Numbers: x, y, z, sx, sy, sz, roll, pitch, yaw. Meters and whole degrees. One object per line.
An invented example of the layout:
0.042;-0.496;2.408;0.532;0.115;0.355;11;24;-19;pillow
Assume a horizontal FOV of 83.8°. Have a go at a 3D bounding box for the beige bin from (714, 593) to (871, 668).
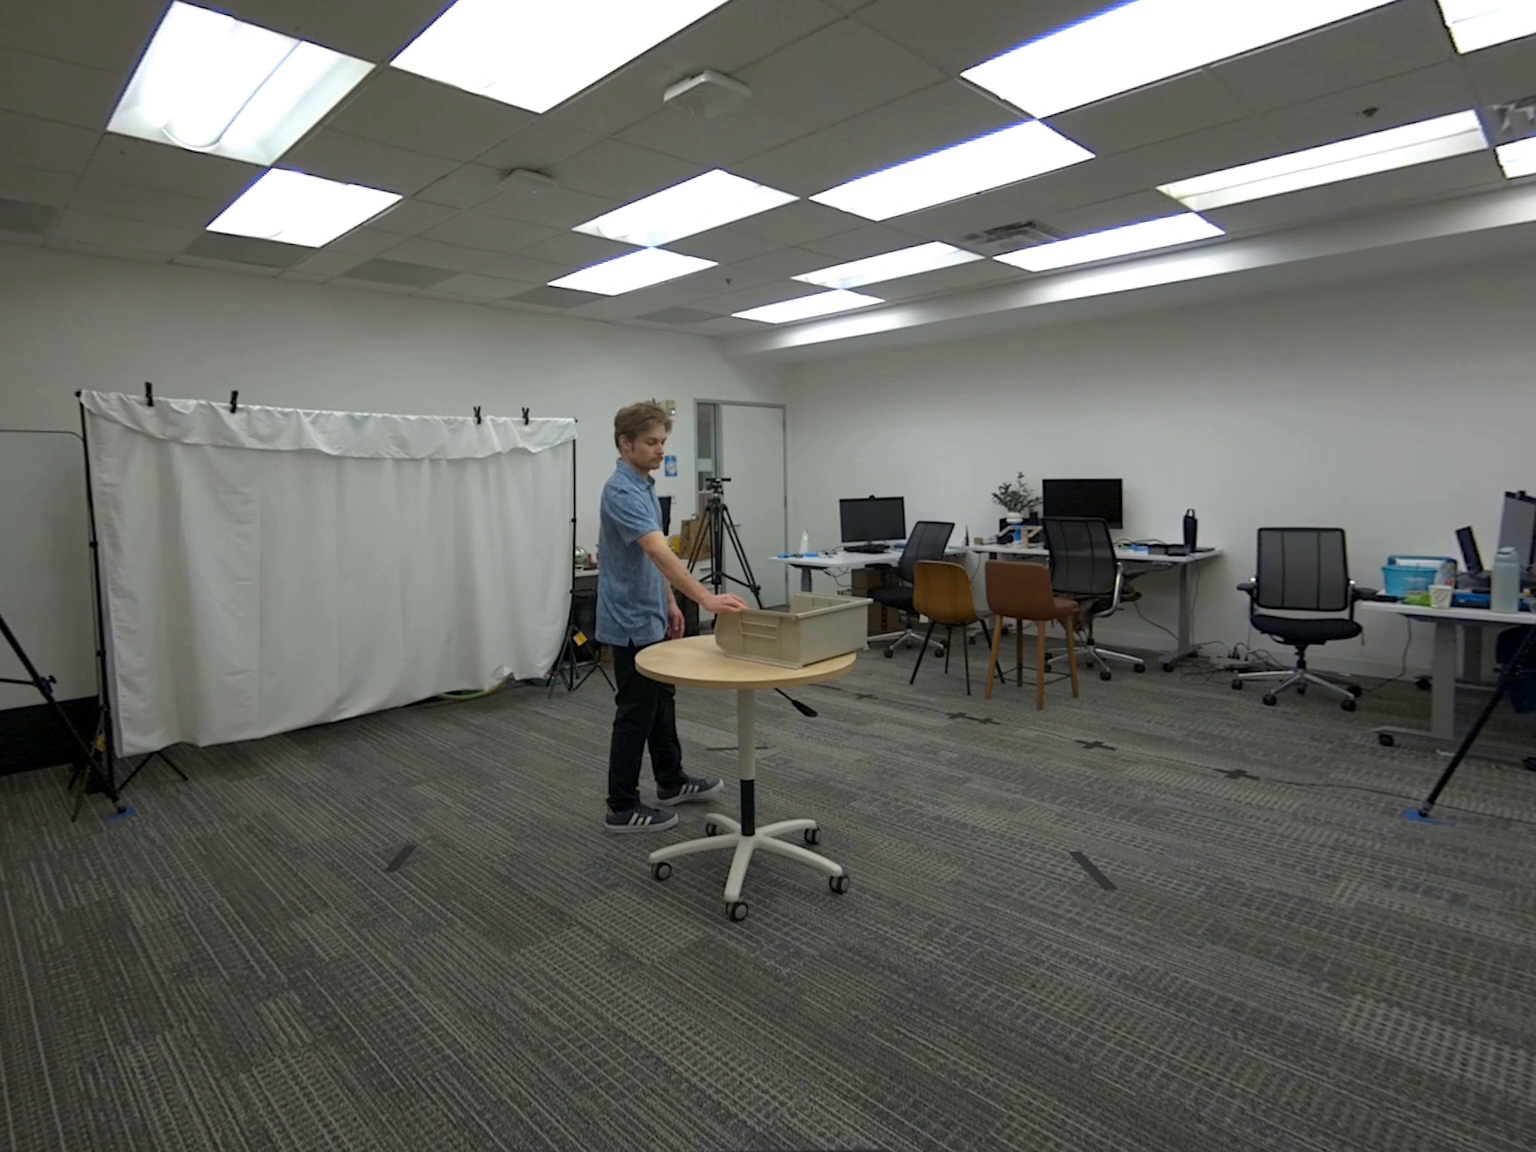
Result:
0.091;0.181;2.989;0.389;0.188;0.411;6;9;42;beige bin
